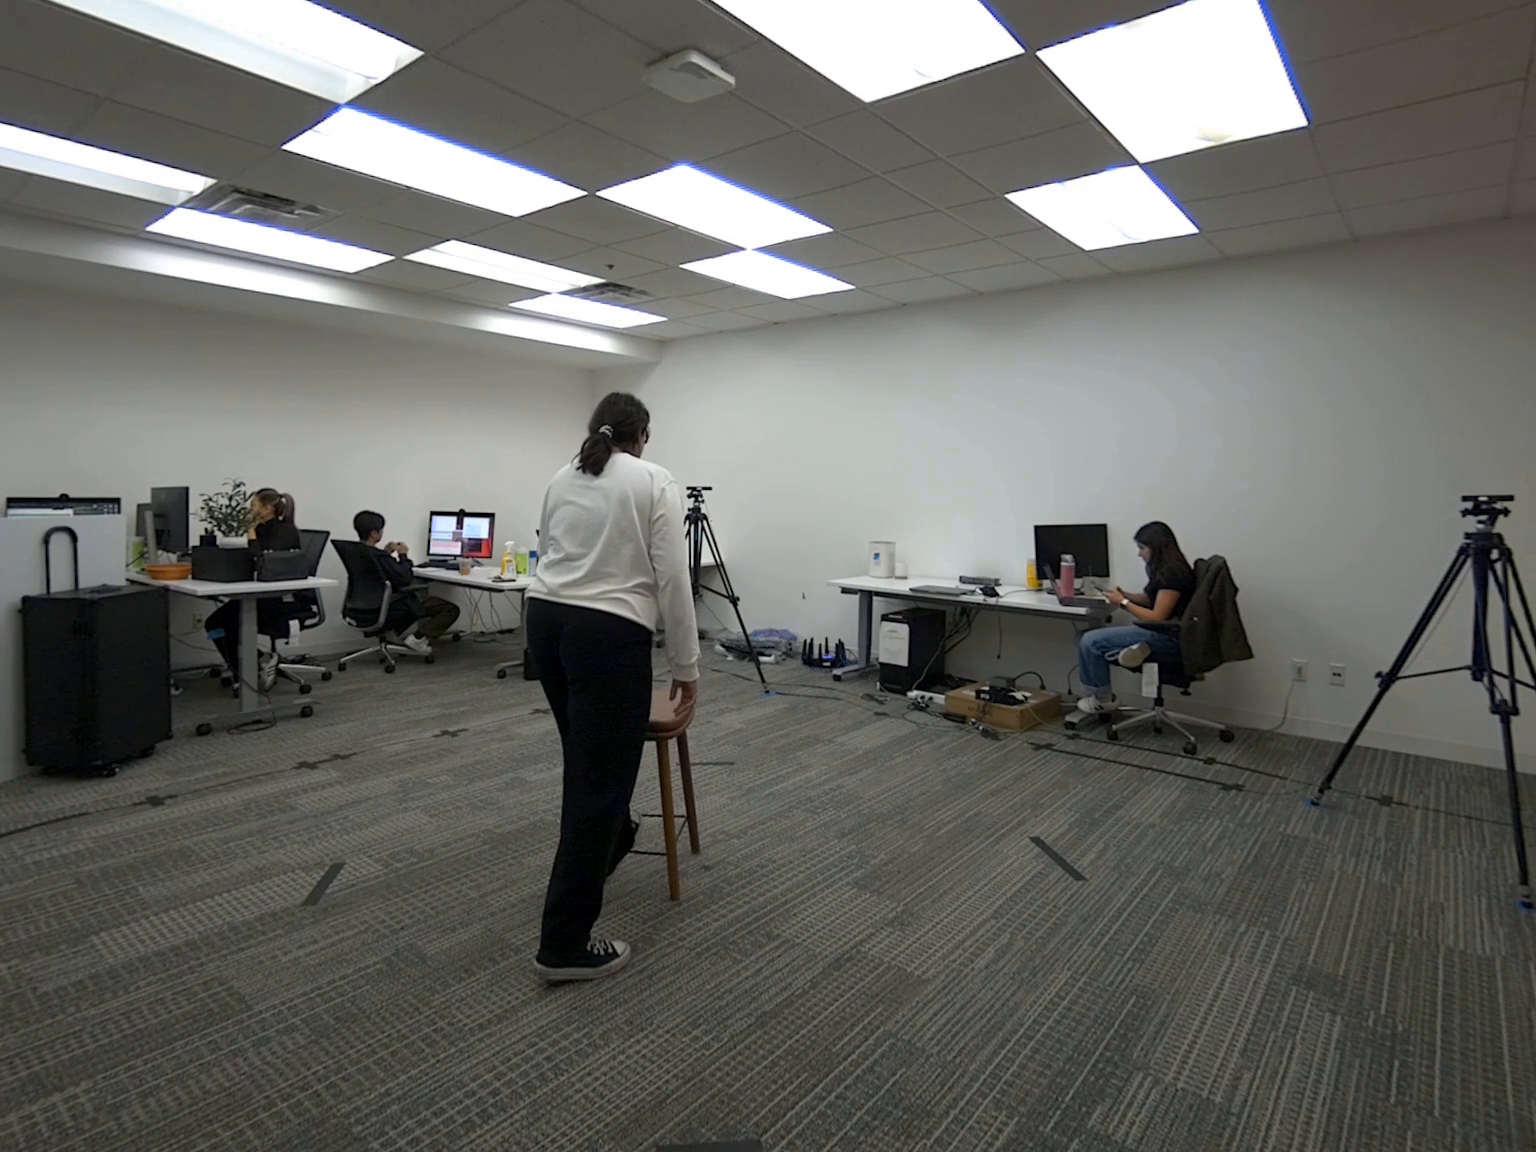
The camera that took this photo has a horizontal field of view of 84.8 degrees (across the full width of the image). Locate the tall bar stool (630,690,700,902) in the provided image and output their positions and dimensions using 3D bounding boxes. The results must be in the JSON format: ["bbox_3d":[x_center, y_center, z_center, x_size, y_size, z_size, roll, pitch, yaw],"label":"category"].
[{"bbox_3d":[-0.502,0.623,3.069,0.472,0.887,0.453,0,3,9],"label":"tall bar stool"}]
